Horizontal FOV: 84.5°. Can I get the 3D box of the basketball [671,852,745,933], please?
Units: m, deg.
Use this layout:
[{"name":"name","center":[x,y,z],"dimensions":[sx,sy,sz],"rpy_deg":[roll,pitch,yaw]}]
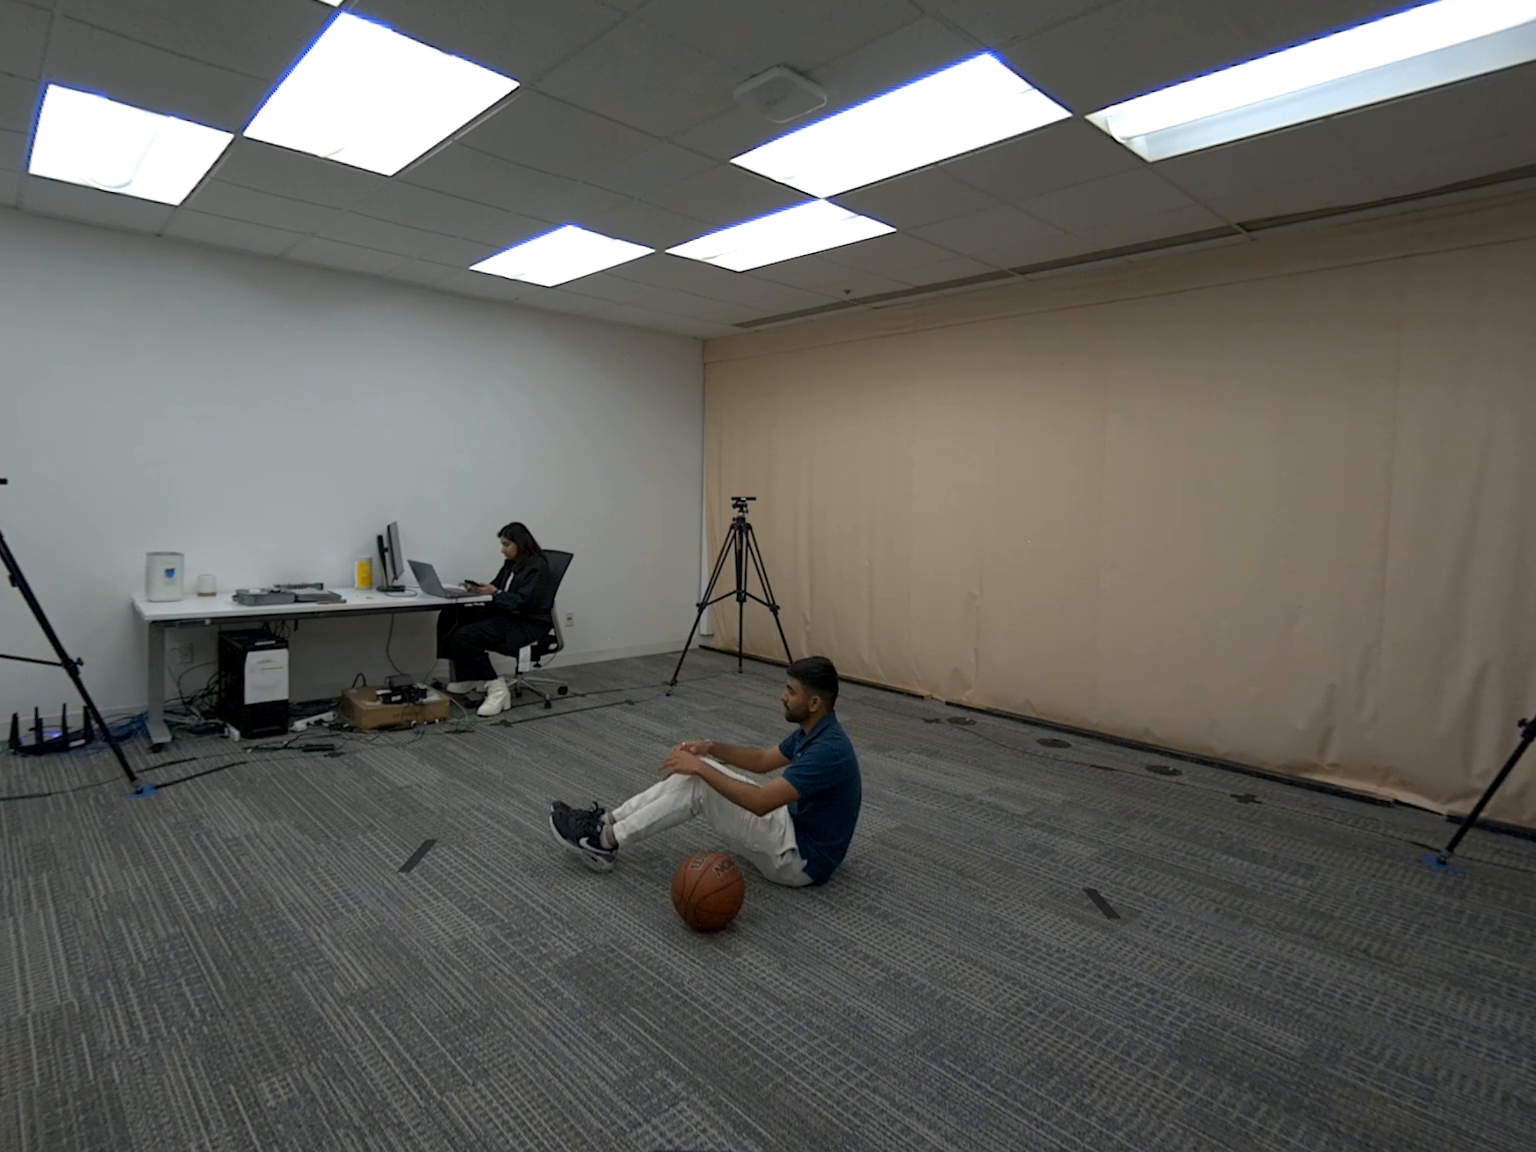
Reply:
[{"name":"basketball","center":[-0.204,1.013,2.731],"dimensions":[0.236,0.235,0.237],"rpy_deg":[1,4,-1]}]
